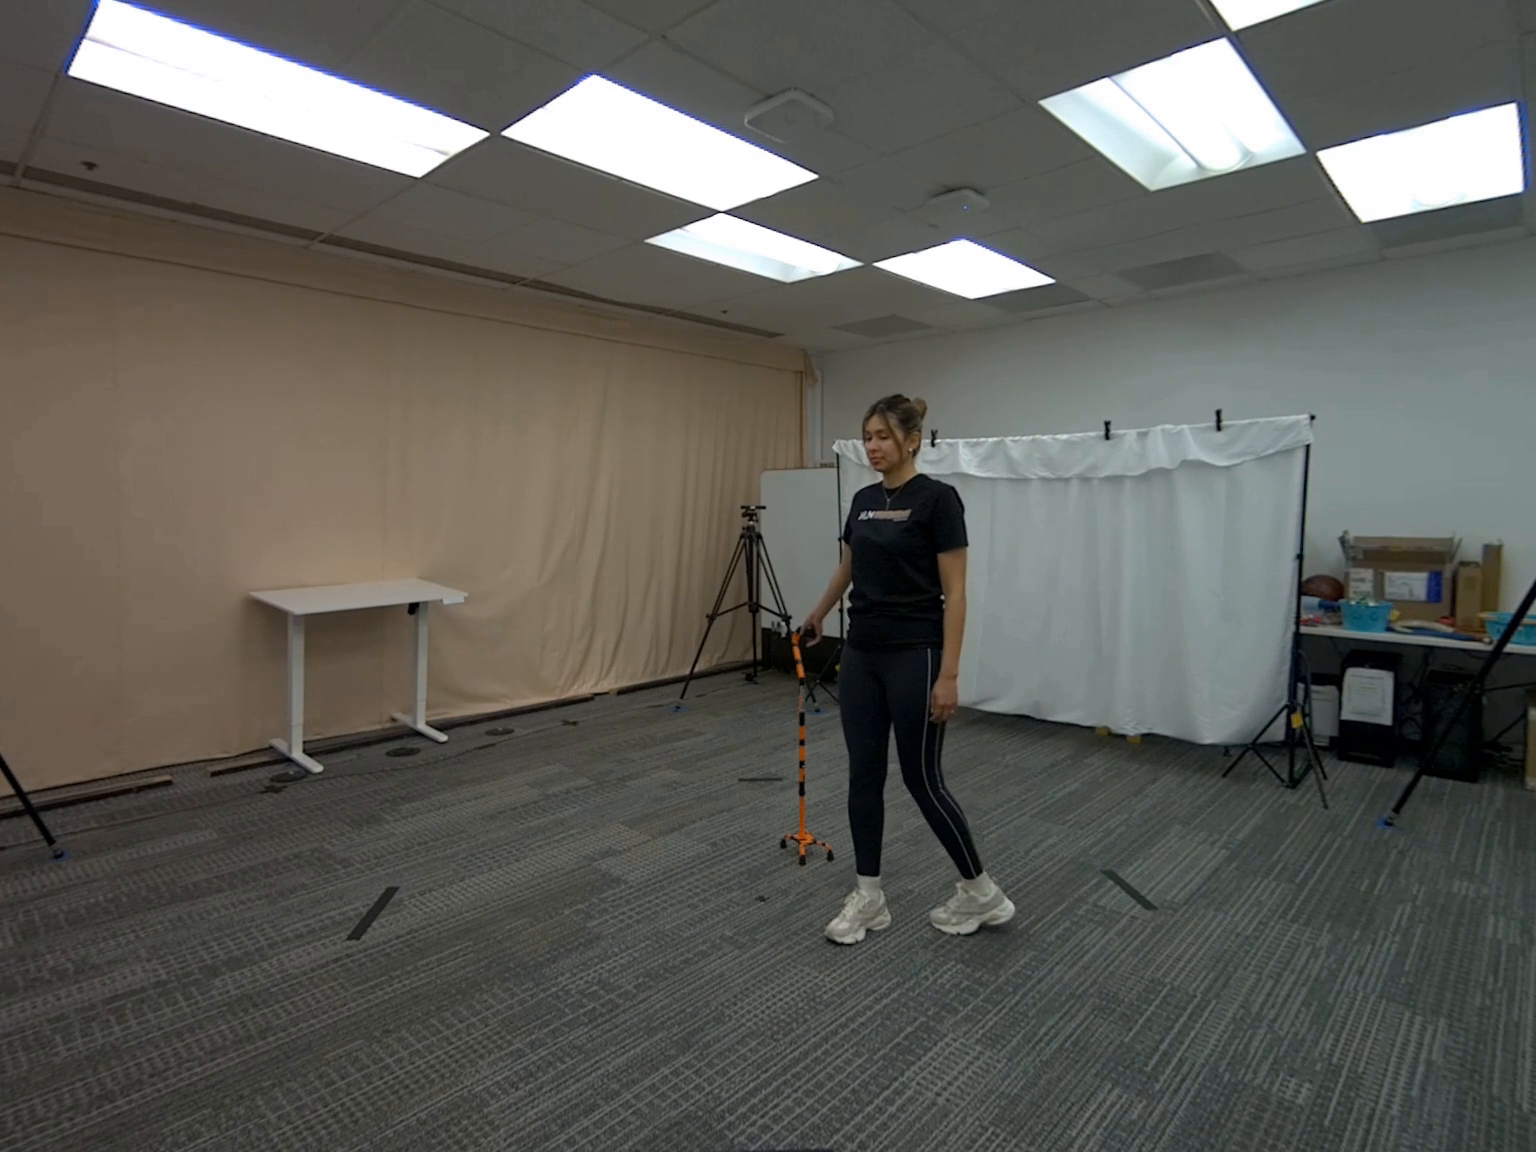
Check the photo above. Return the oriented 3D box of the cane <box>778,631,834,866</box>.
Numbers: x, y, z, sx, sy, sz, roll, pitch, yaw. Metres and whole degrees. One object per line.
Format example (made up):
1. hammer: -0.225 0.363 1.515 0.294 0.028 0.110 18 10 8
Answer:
1. cane: 0.155 0.659 3.348 0.148 0.906 0.211 -2 3 -21
